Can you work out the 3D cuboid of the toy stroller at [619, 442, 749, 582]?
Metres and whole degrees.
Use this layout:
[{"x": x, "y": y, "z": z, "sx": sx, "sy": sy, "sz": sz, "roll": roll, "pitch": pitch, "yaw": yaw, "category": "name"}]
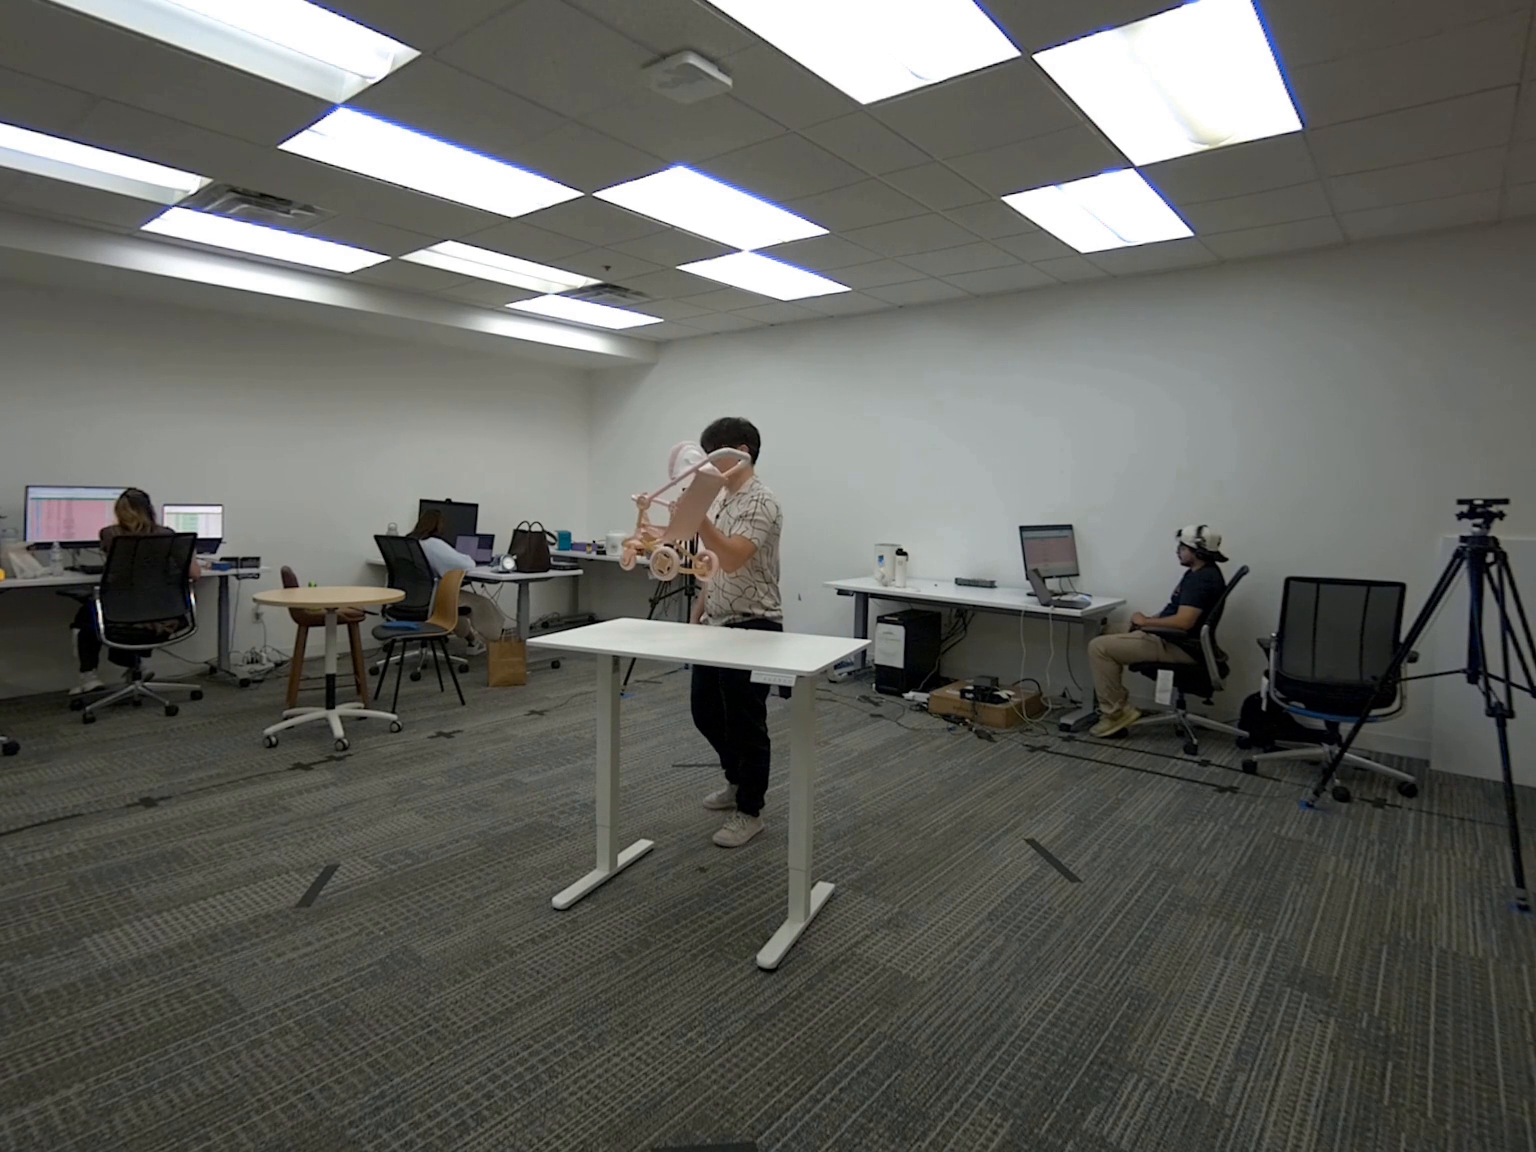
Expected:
[{"x": -0.322, "y": -0.219, "z": 2.900, "sx": 0.354, "sy": 0.532, "sz": 0.272, "roll": 25, "pitch": 11, "yaw": 32, "category": "toy stroller"}]
